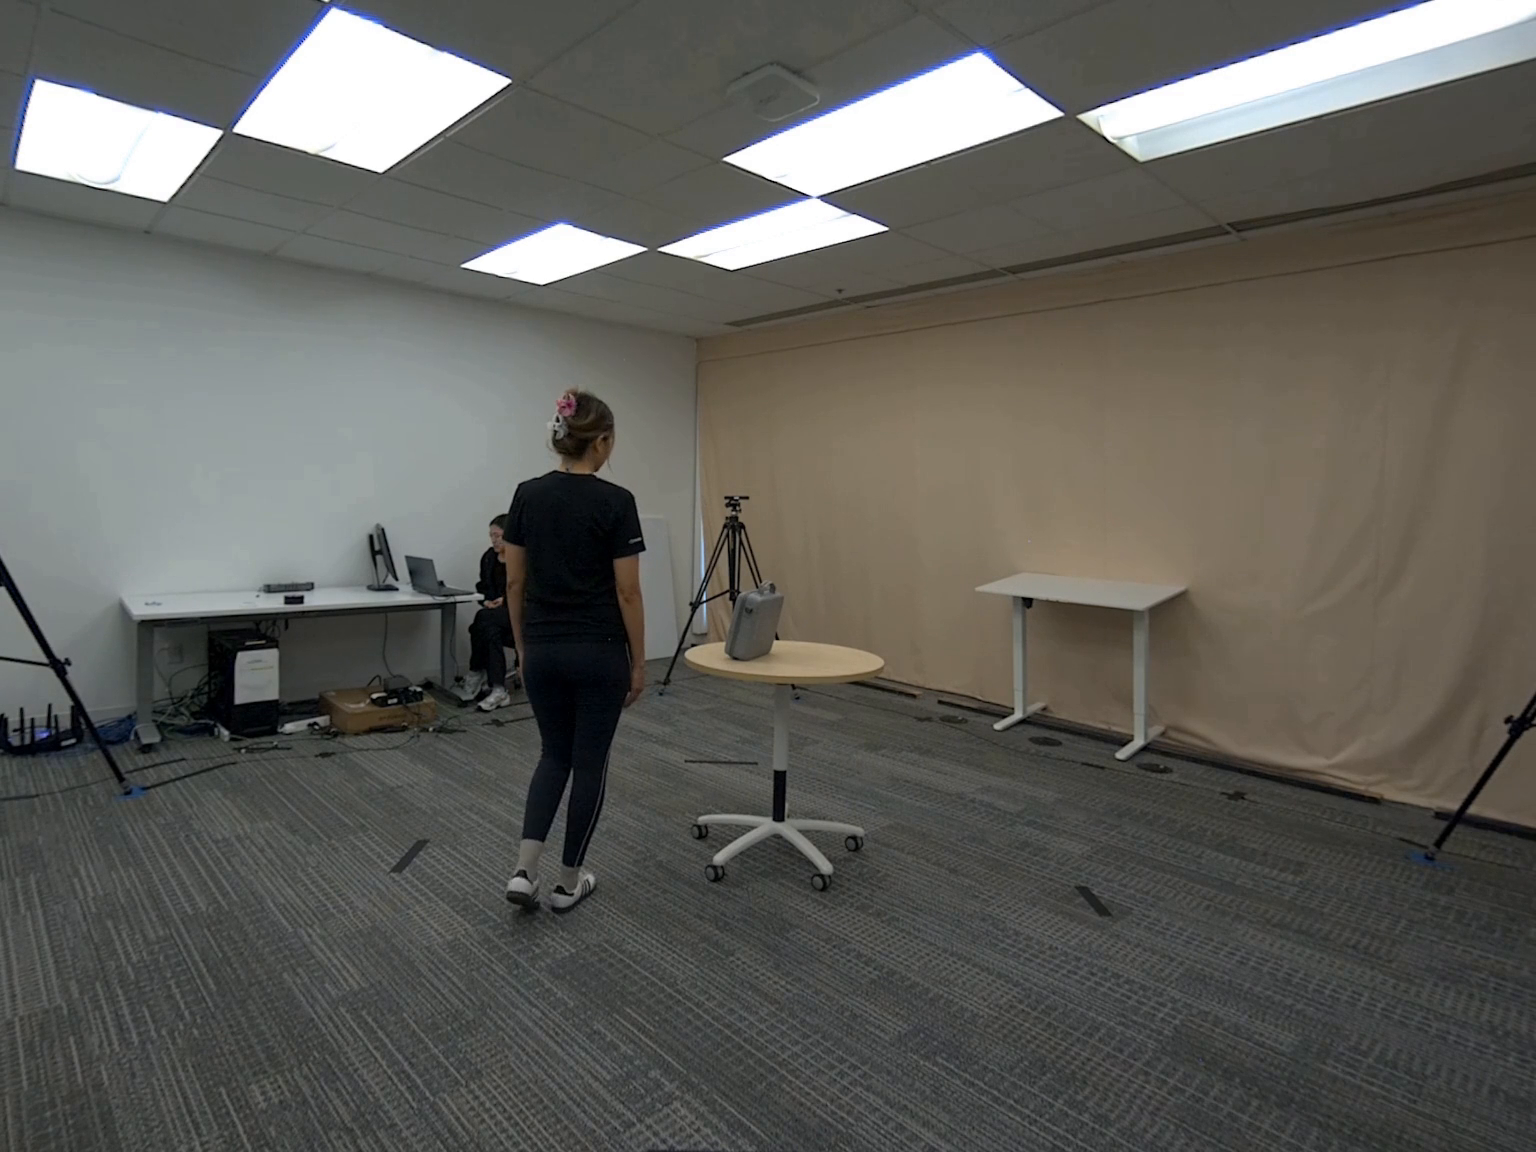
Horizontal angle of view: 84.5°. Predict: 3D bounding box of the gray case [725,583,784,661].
[{"bbox_3d":[-0.057,0.178,3.218,0.106,0.259,0.253,16,10,22],"label":"gray case"}]
